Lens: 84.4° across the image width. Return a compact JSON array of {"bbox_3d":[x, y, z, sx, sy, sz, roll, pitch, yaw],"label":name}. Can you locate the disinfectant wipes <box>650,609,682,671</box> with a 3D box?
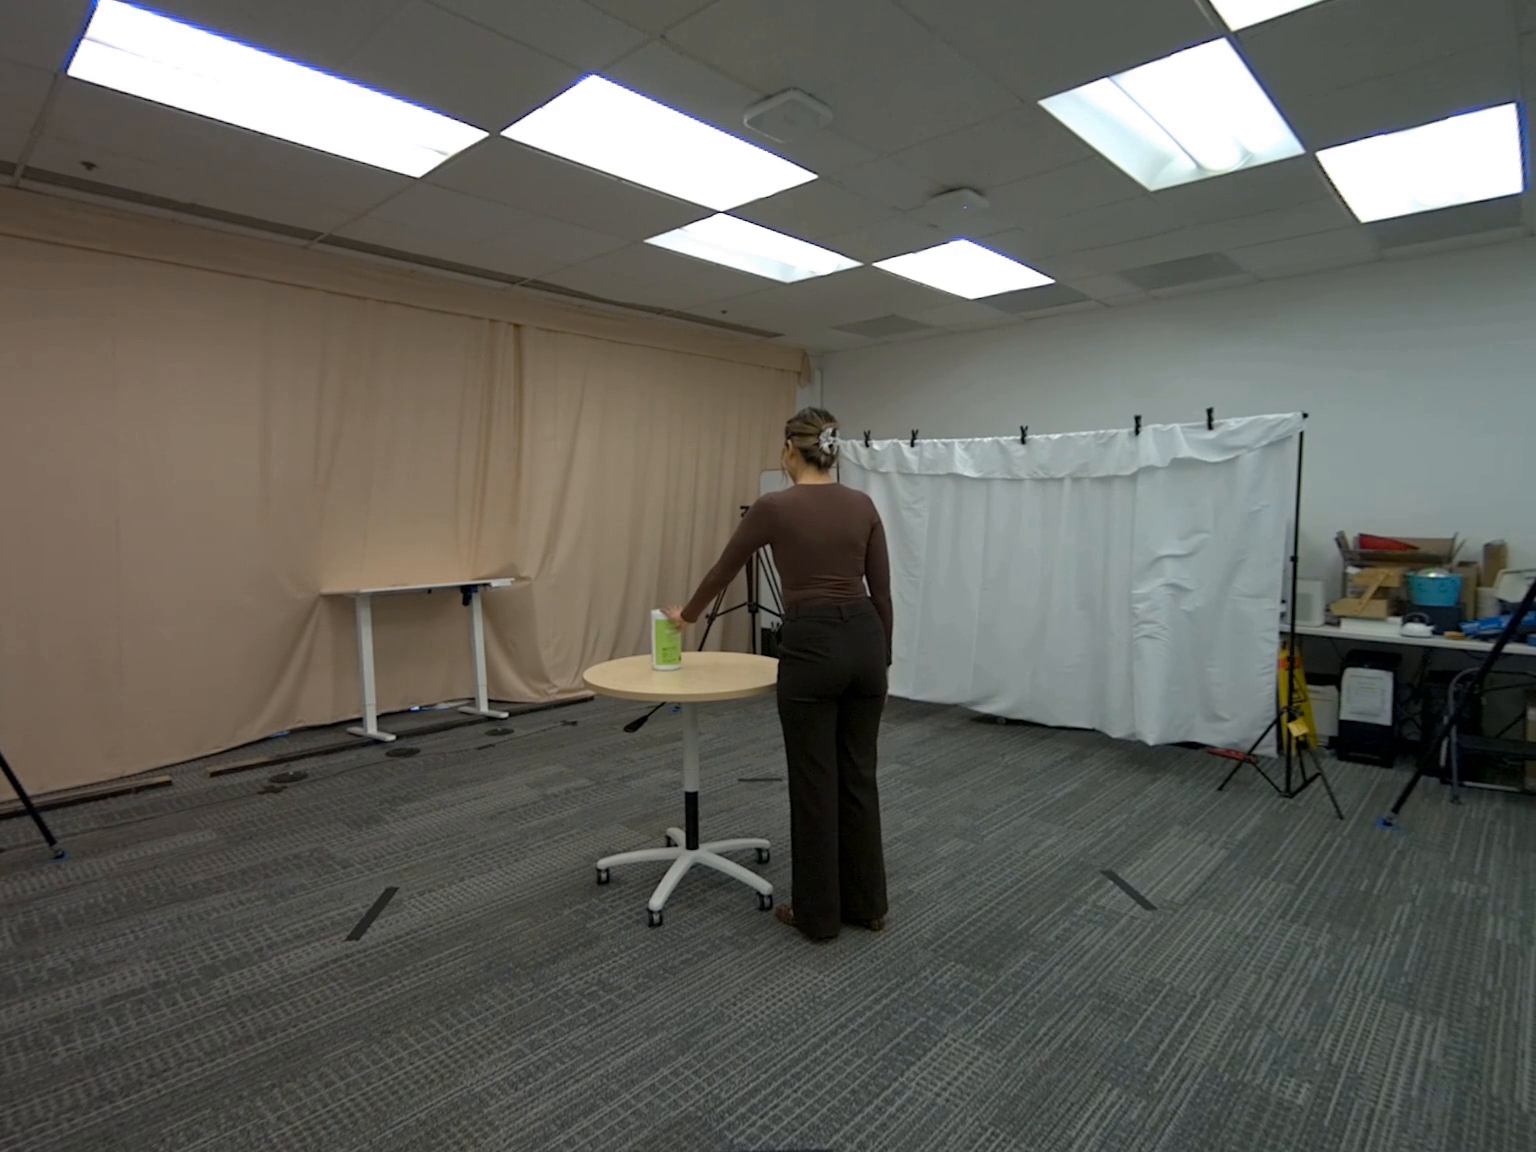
[{"bbox_3d":[-0.375,0.232,3.099,0.117,0.217,0.118,2,3,-2],"label":"disinfectant wipes"}]
